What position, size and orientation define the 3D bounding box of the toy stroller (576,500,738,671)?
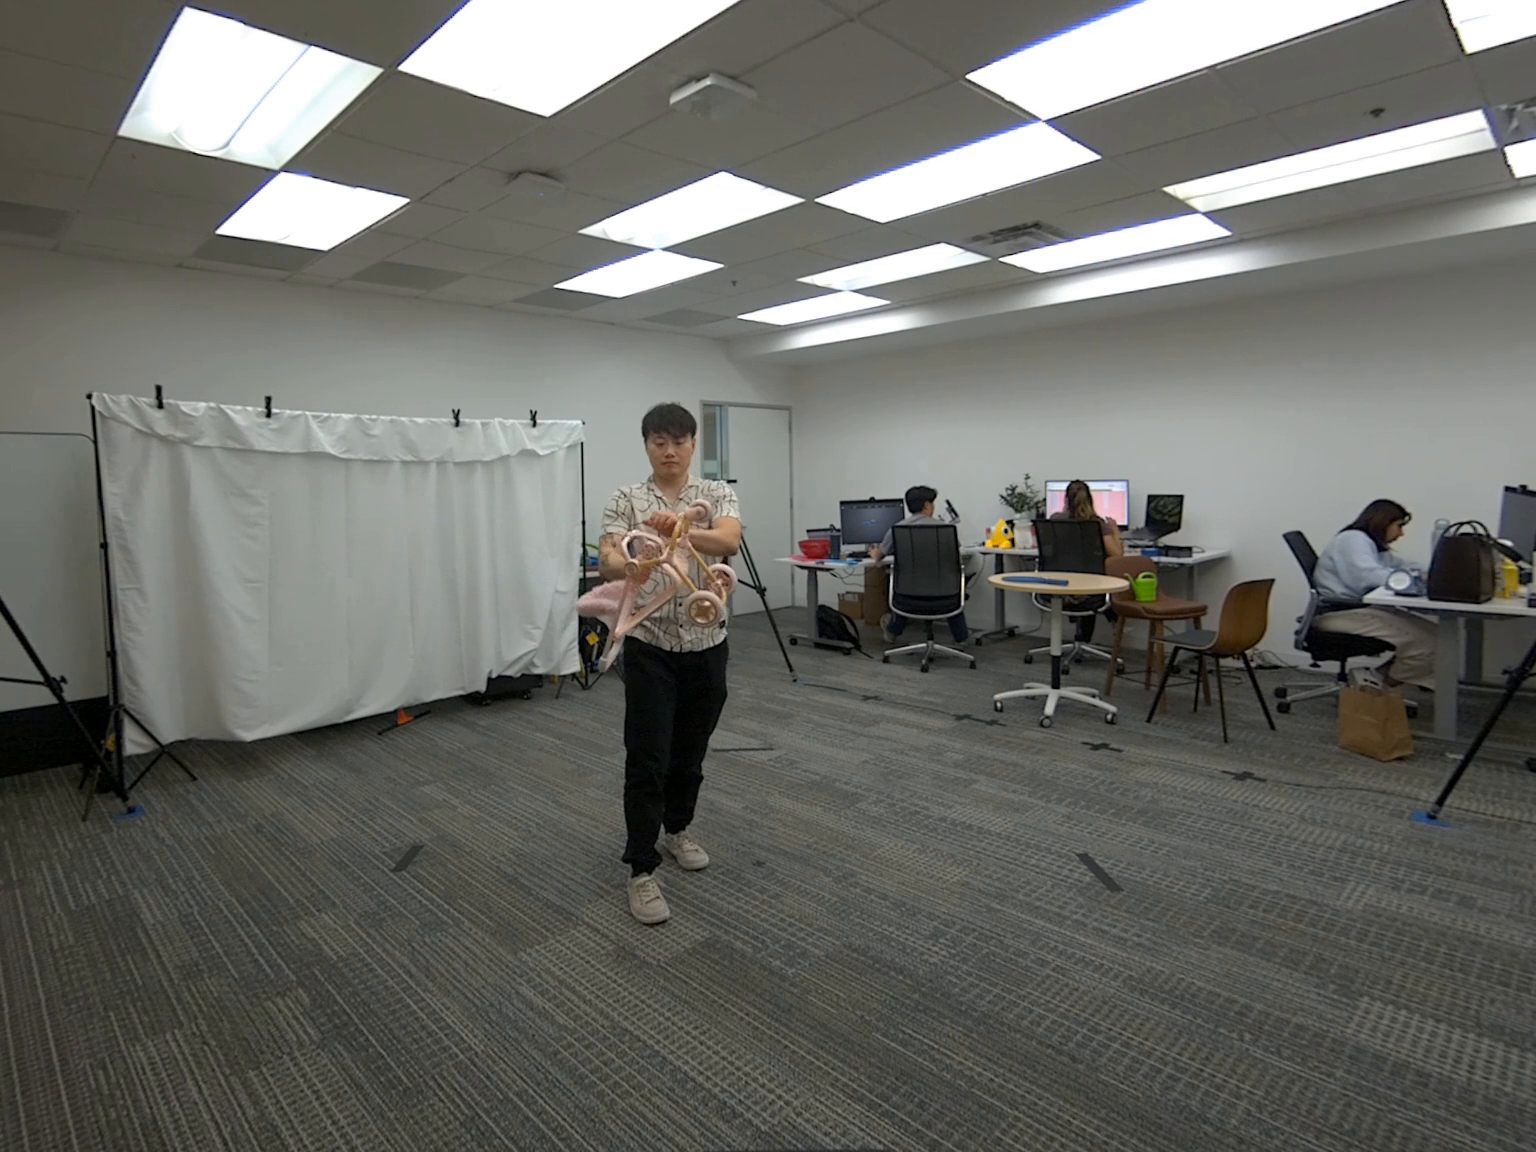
[{"bbox_3d":[-0.348,0.023,2.506,0.539,0.335,0.284,-24,16,16],"label":"toy stroller"}]
